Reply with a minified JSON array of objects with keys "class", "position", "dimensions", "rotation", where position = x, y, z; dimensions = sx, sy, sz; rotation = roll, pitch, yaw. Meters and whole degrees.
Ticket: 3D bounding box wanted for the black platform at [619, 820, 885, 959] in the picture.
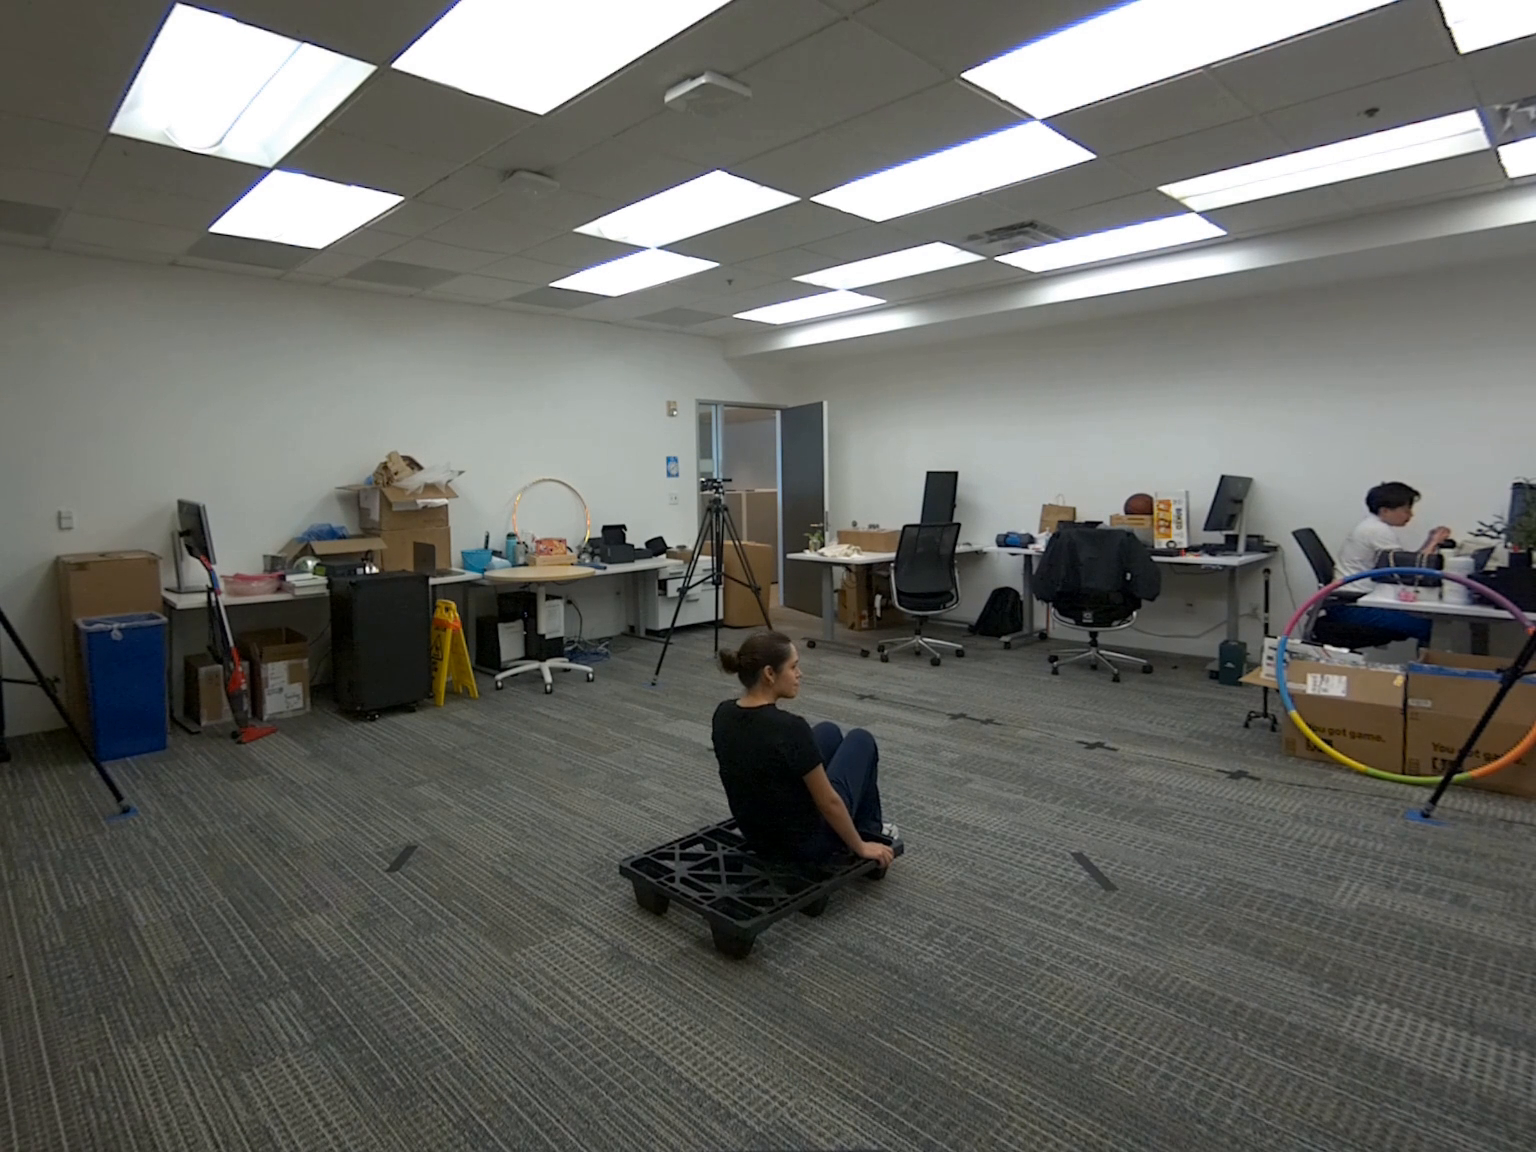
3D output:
[{"class":"black platform","position":[-0.009,1.003,2.901],"dimensions":[0.624,0.142,0.784],"rotation":[6,9,43]}]
